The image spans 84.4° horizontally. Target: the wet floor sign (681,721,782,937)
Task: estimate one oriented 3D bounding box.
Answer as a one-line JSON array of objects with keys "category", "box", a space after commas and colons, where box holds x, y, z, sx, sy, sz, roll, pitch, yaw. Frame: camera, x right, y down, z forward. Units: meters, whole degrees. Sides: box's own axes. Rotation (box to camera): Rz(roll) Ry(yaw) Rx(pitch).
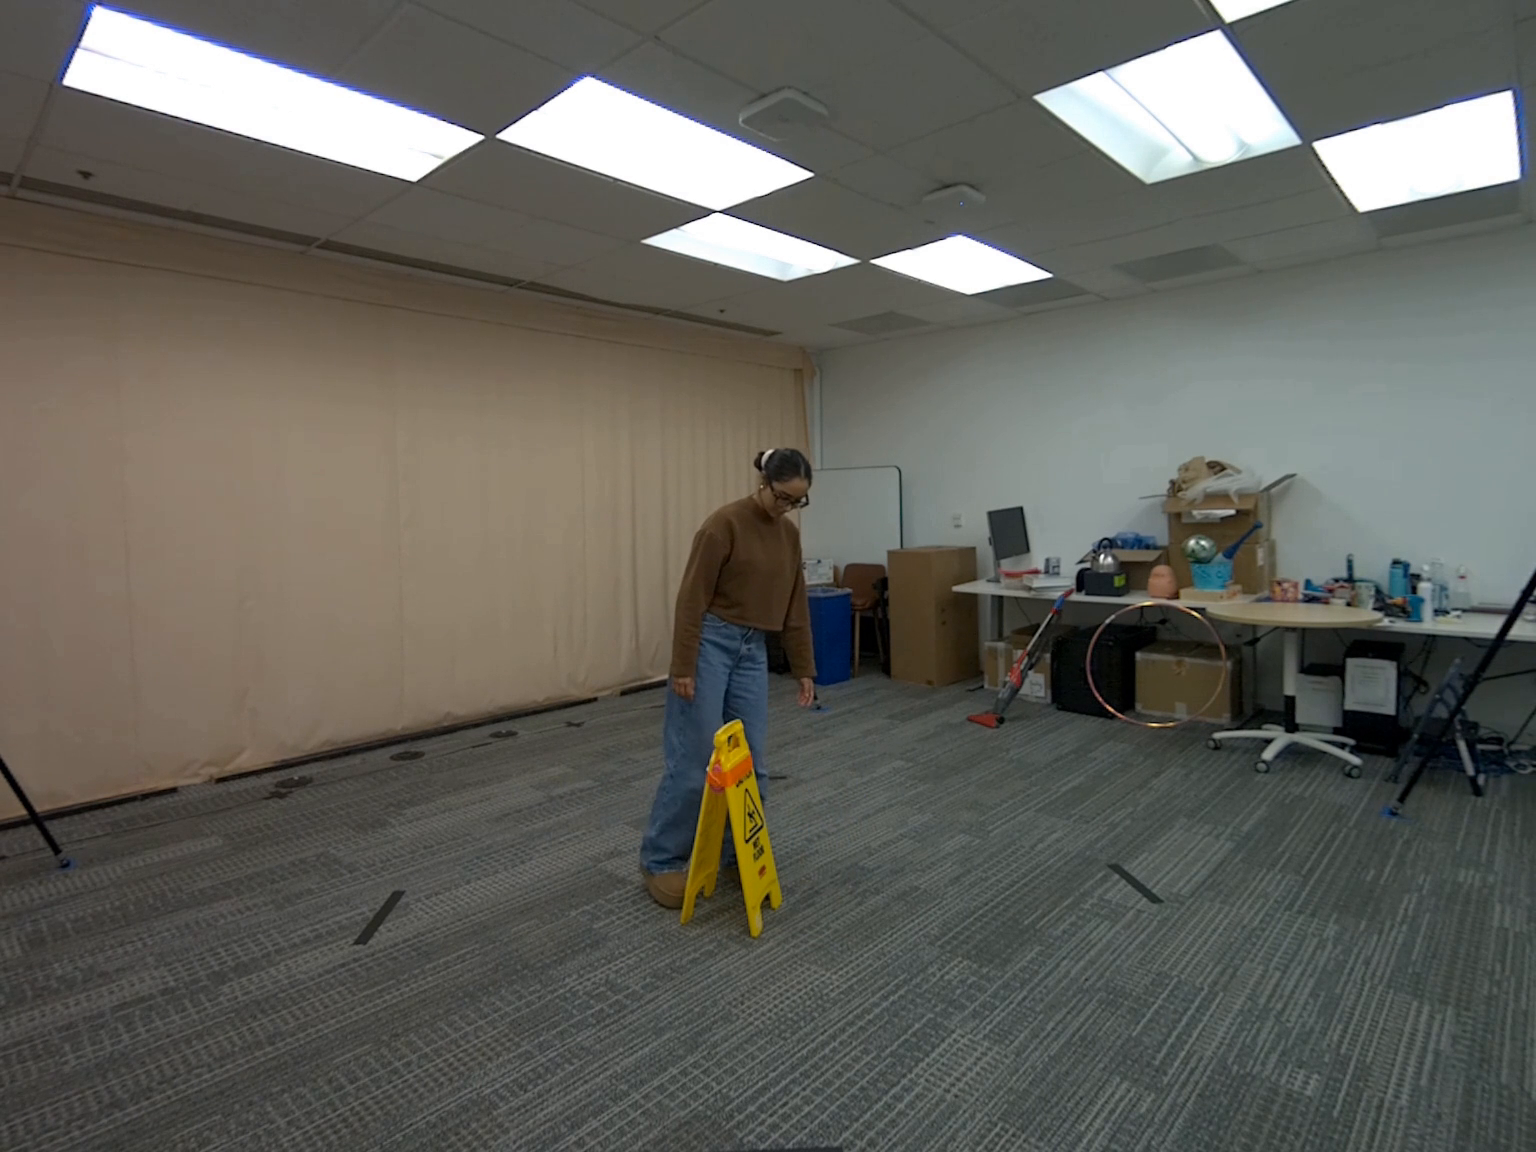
[{"category": "wet floor sign", "box": [-0.129, 0.829, 2.859, 0.296, 0.645, 0.277, 0, 3, 20]}]
